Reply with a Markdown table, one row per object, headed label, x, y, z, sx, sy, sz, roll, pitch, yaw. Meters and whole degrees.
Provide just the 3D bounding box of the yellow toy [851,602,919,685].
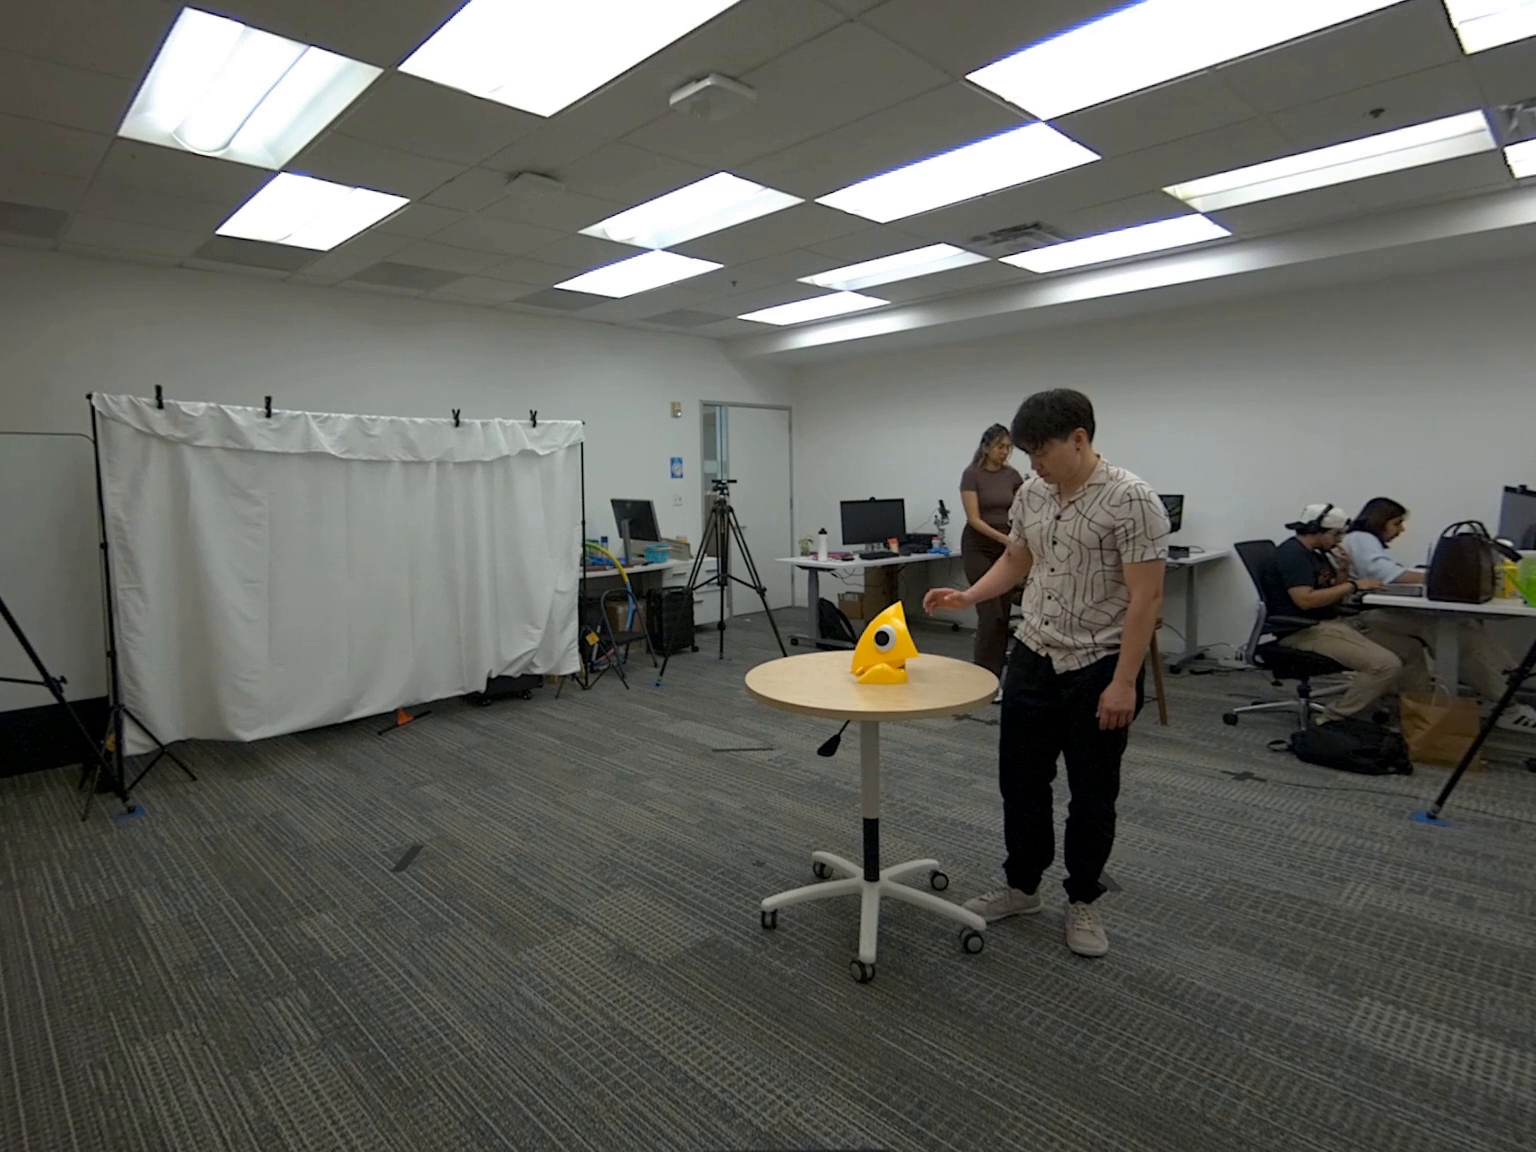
| label | x | y | z | sx | sy | sz | roll | pitch | yaw |
| --- | --- | --- | --- | --- | --- | --- | --- | --- | --- |
| yellow toy | 0.359 | 0.198 | 2.624 | 0.192 | 0.230 | 0.206 | -2 | 5 | -4 |
